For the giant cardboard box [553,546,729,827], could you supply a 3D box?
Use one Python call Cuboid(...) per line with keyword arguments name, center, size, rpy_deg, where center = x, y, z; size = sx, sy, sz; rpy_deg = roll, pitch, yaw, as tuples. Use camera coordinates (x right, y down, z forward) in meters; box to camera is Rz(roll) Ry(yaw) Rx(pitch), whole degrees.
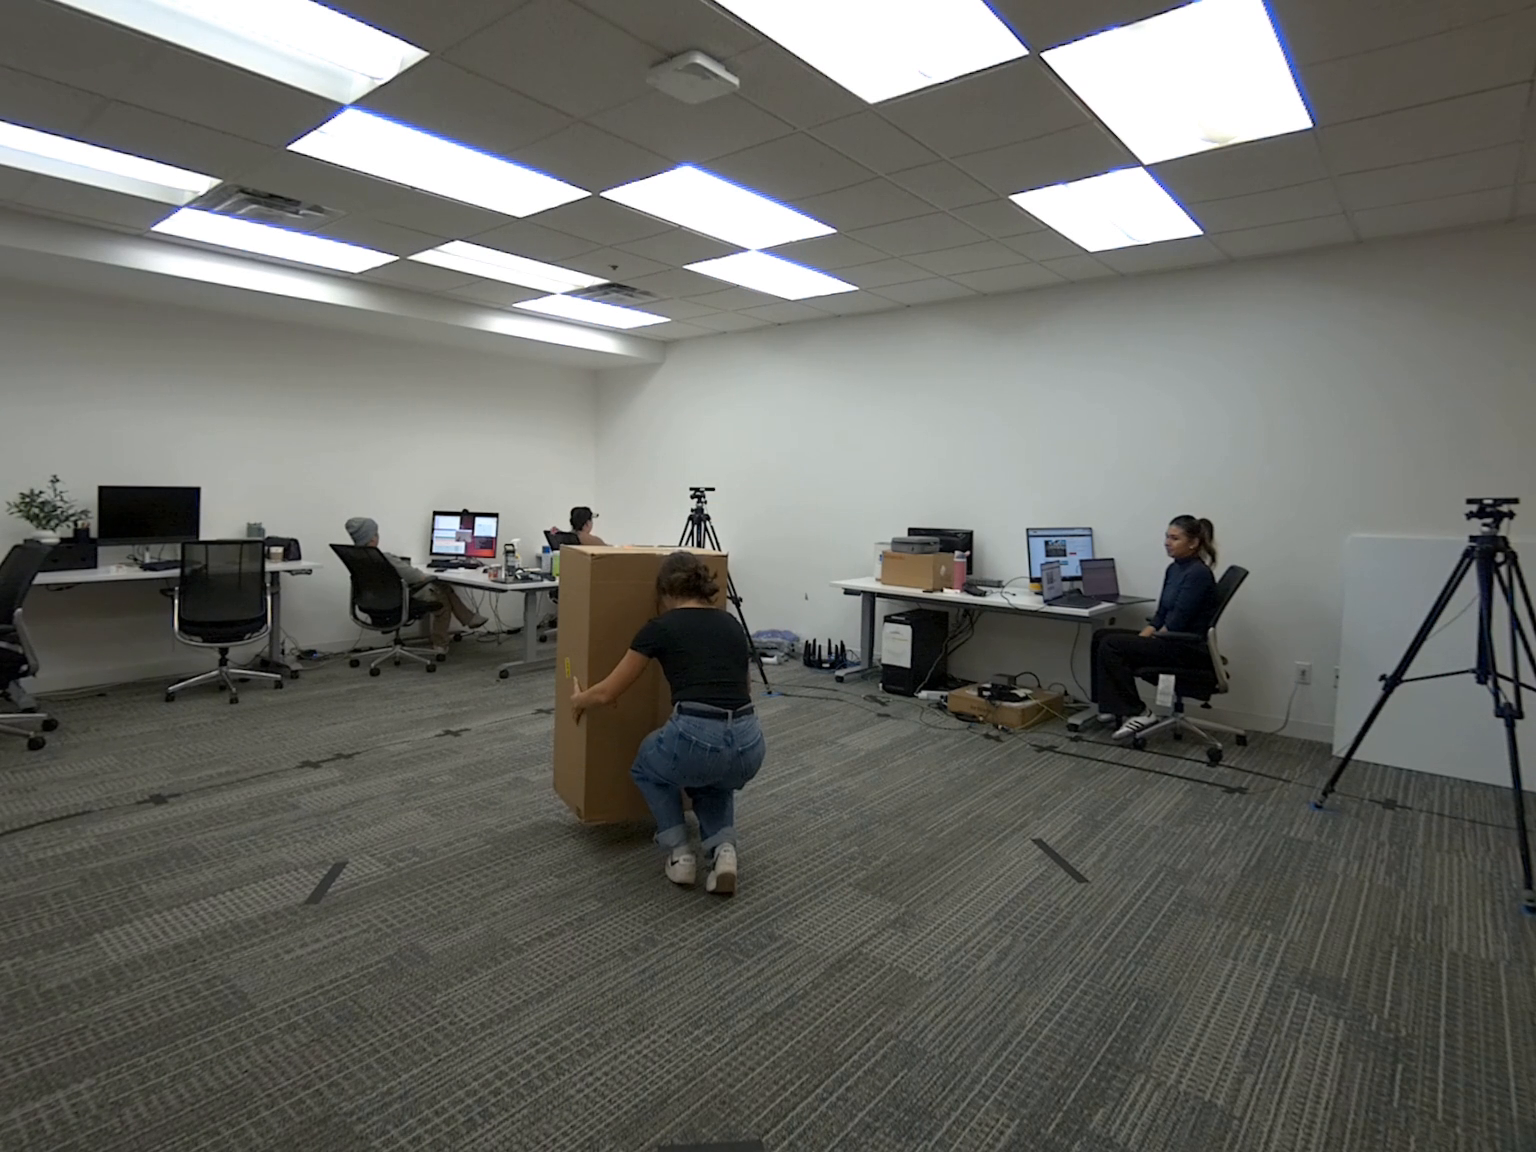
Cuboid(name="giant cardboard box", center=(-0.543, 0.394, 3.462), size=(0.562, 1.023, 0.438), rpy_deg=(1, 3, -28))
